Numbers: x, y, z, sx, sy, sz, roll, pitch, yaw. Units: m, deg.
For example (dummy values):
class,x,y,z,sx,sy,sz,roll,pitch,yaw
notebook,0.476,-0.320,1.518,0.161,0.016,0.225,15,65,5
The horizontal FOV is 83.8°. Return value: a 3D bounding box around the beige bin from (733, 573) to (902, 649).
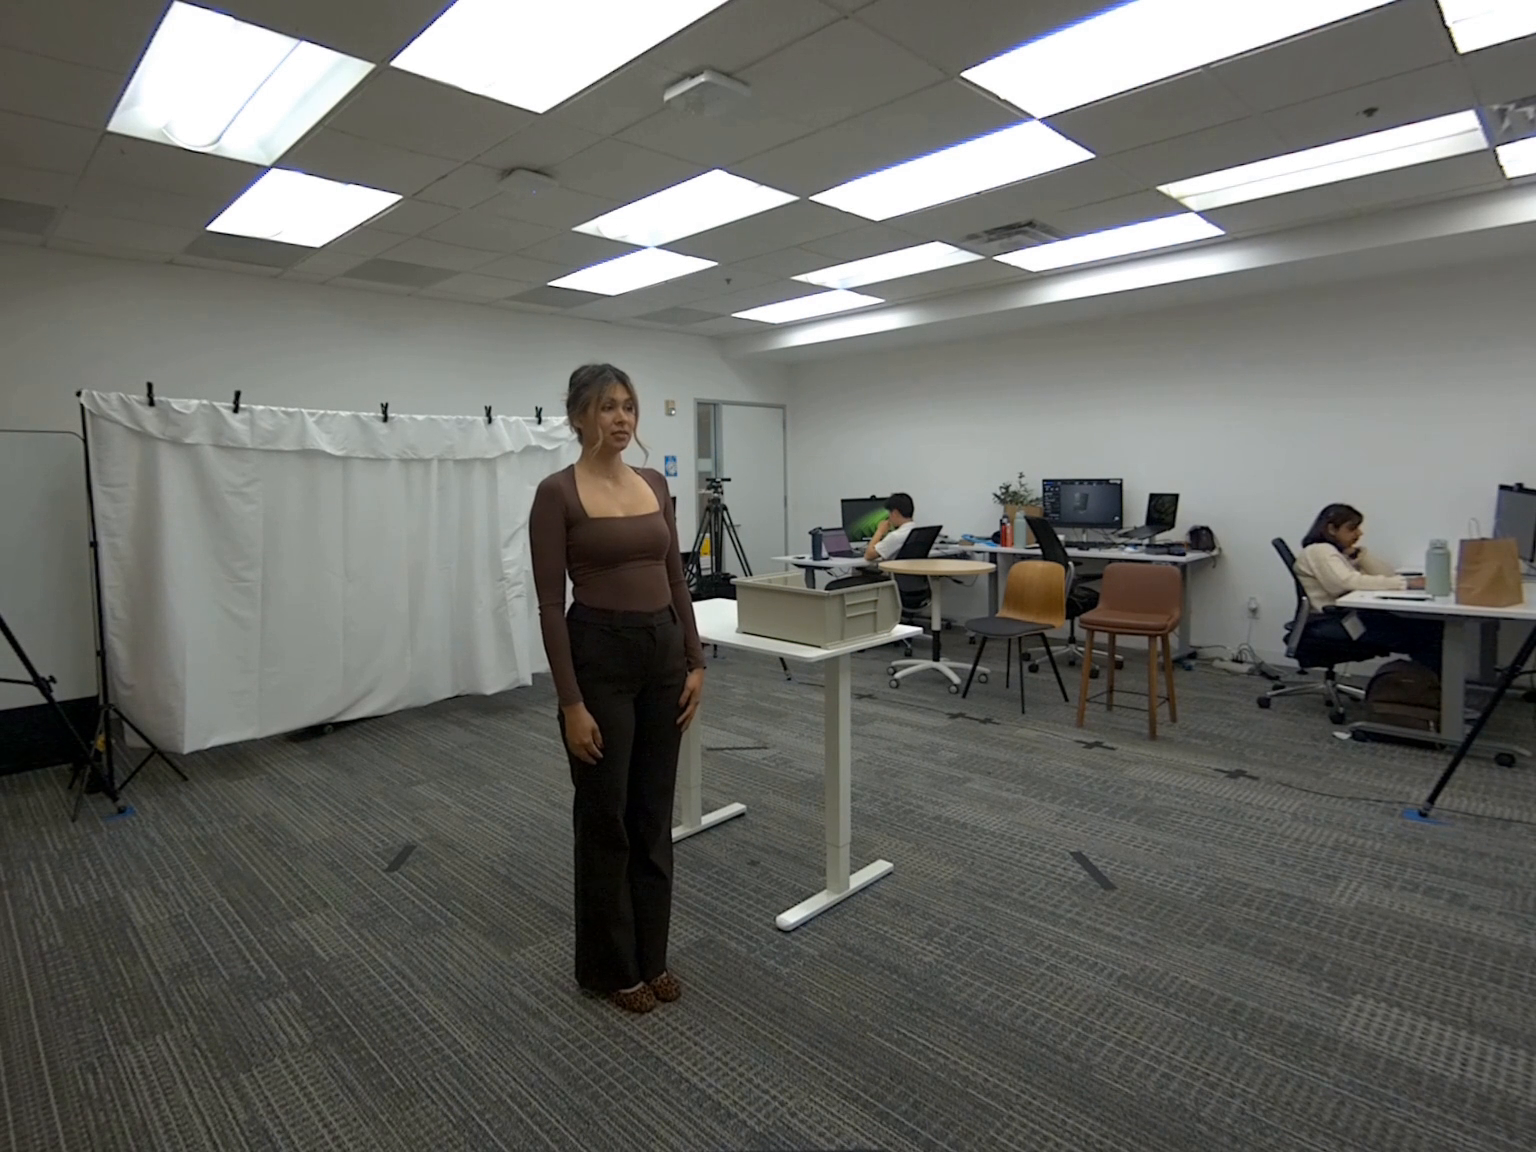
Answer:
class,x,y,z,sx,sy,sz,roll,pitch,yaw
beige bin,0.162,0.104,2.822,0.368,0.188,0.436,-9,11,-44
